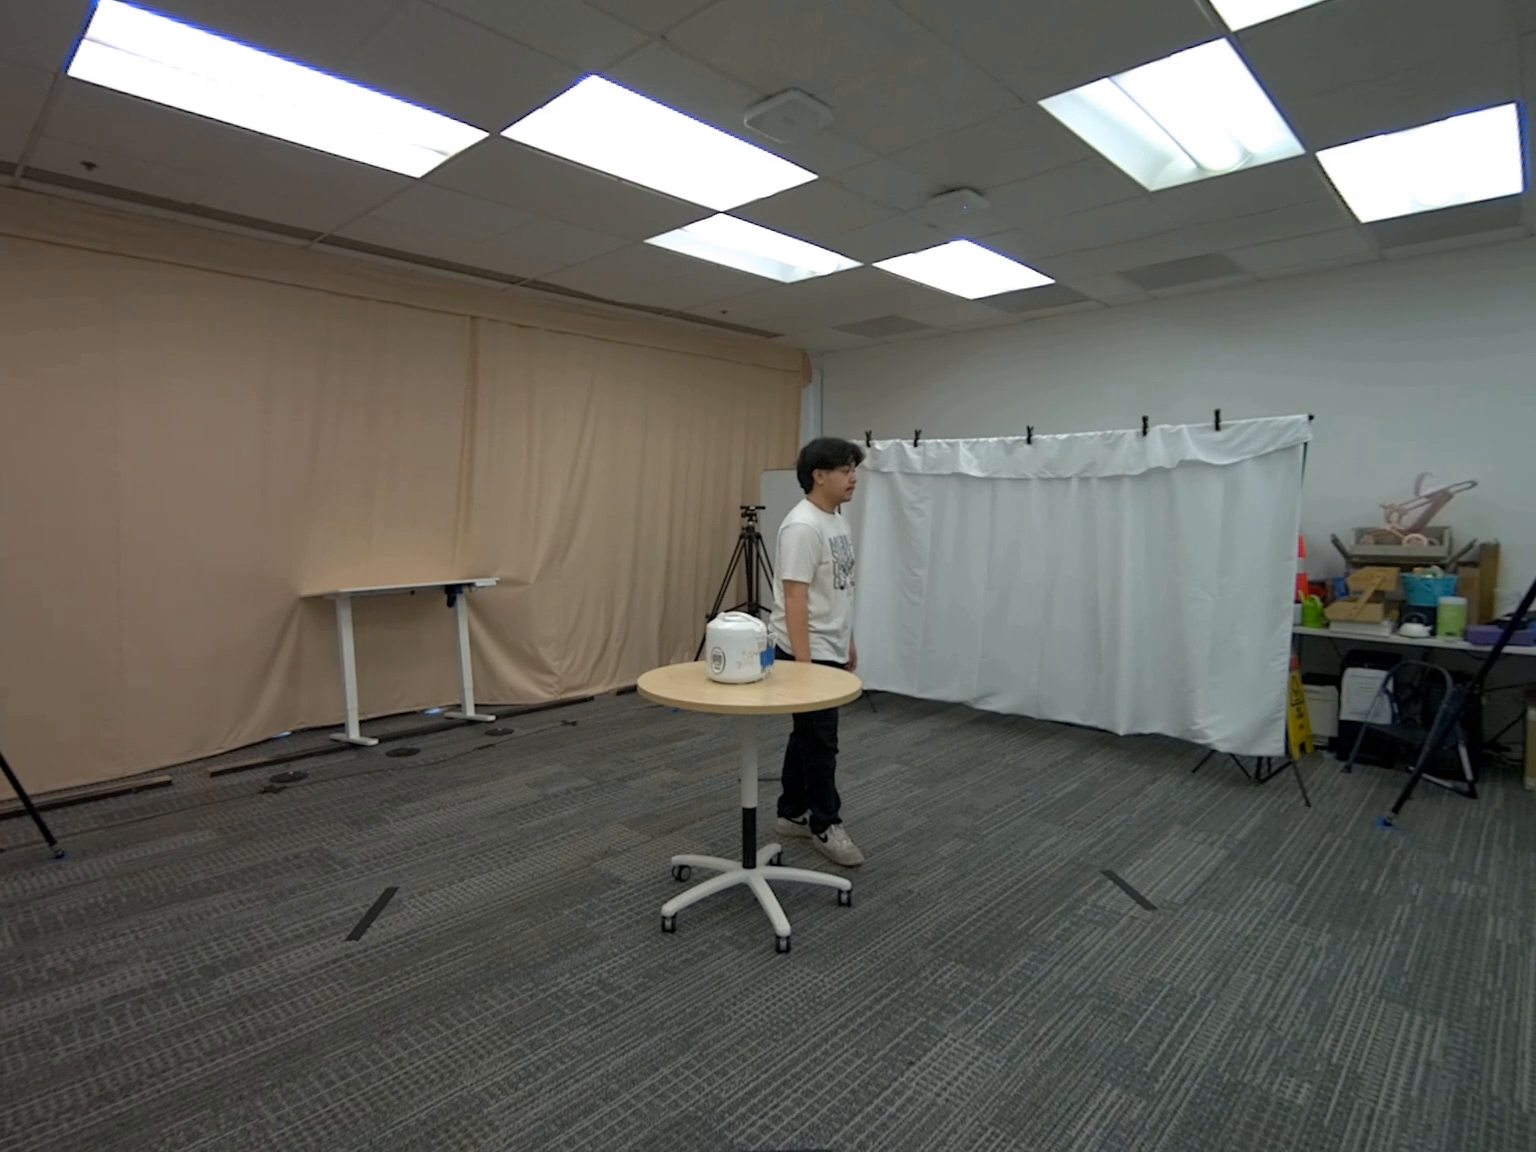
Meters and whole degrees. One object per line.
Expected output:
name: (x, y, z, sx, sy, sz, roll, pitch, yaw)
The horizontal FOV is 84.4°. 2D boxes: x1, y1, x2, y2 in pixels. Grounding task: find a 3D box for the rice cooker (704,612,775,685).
rice cooker: (-0.107, 0.236, 2.882, 0.227, 0.232, 0.211, 3, 3, 35)
